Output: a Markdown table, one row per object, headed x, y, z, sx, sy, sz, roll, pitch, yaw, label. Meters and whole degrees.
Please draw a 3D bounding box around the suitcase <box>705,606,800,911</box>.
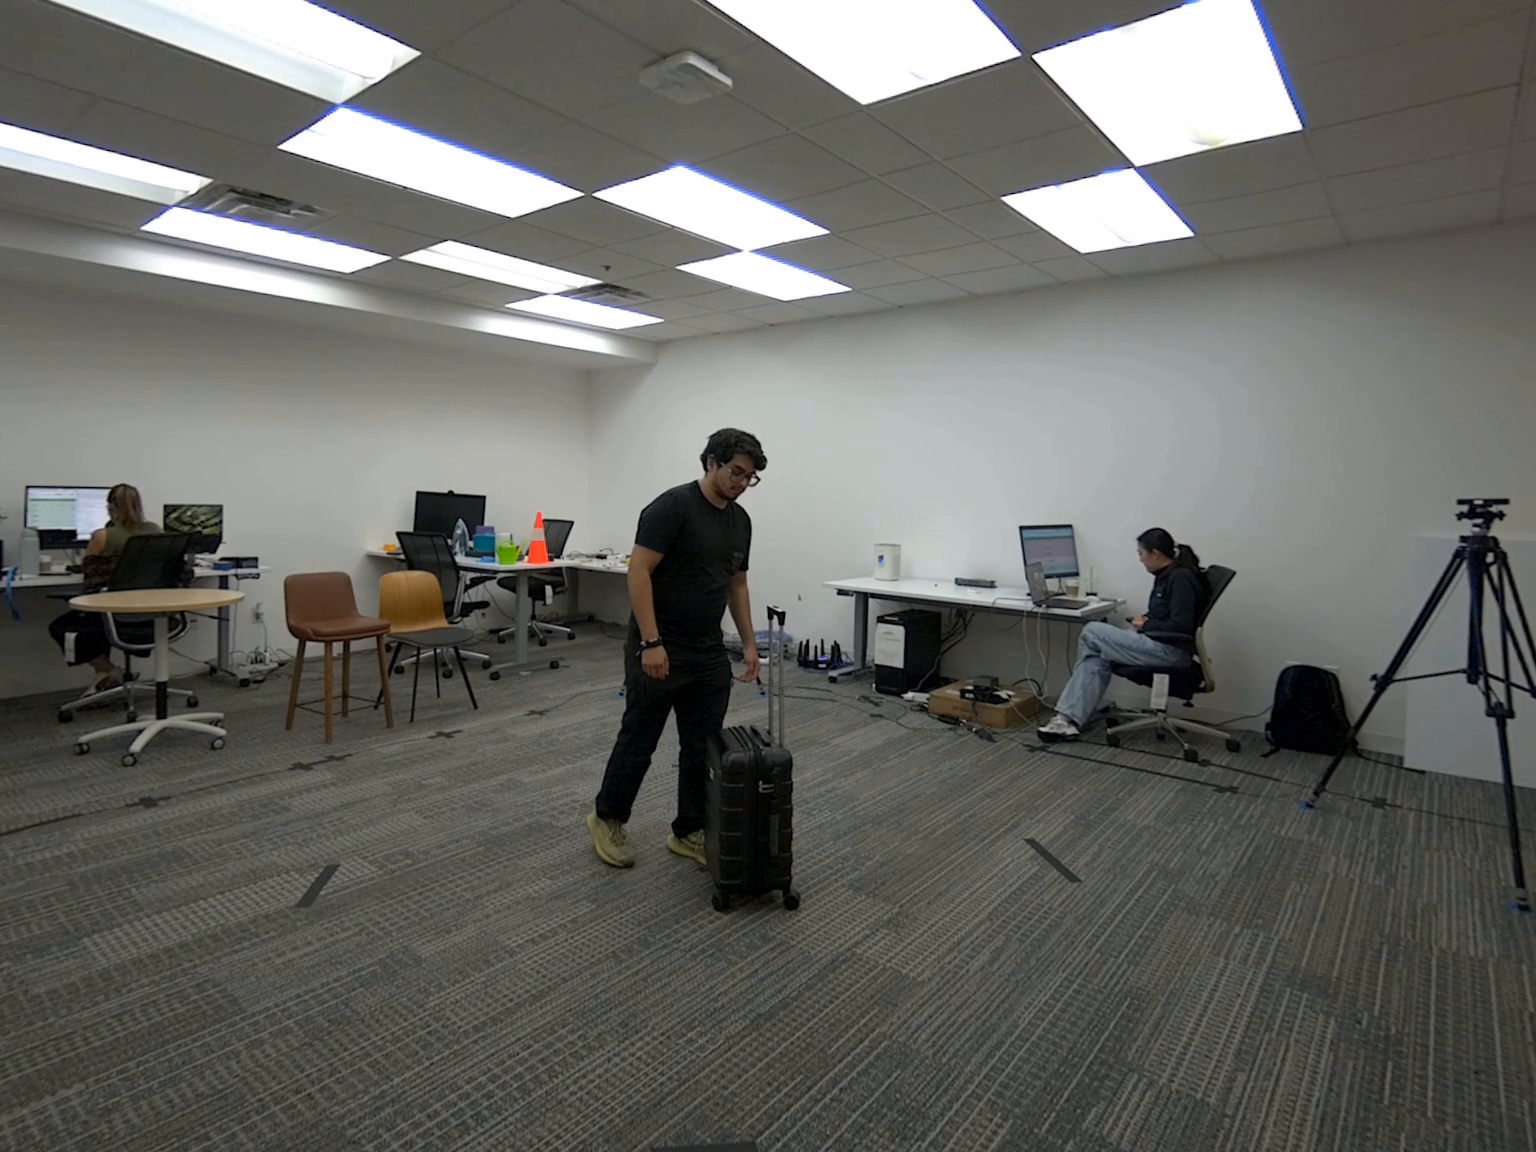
| x | y | z | sx | sy | sz | roll | pitch | yaw | label |
| --- | --- | --- | --- | --- | --- | --- | --- | --- | --- |
| -0.080 | 0.610 | 2.933 | 0.254 | 0.975 | 0.390 | -2 | 4 | -12 | suitcase |
